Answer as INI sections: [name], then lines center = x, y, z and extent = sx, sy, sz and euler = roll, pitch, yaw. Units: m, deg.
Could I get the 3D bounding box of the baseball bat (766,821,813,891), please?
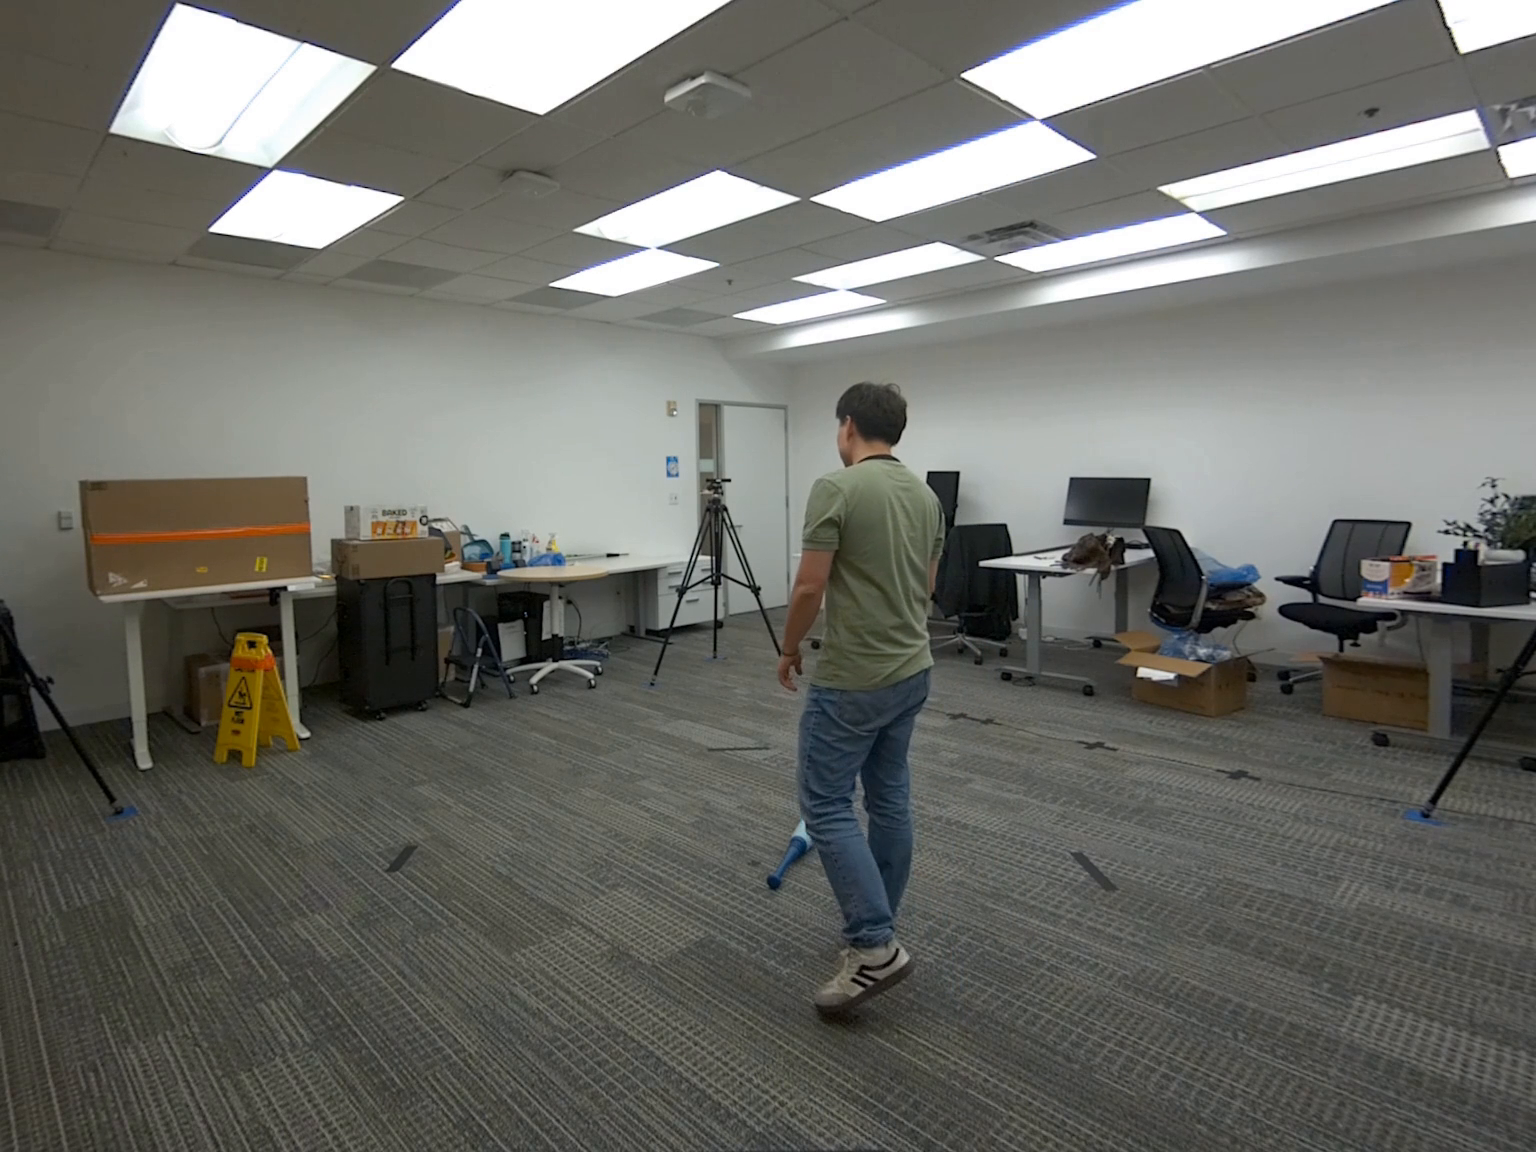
[baseball bat]
center = 0.110, 1.000, 3.145
extent = 0.091, 0.088, 0.537
euler = 1, 9, 18
